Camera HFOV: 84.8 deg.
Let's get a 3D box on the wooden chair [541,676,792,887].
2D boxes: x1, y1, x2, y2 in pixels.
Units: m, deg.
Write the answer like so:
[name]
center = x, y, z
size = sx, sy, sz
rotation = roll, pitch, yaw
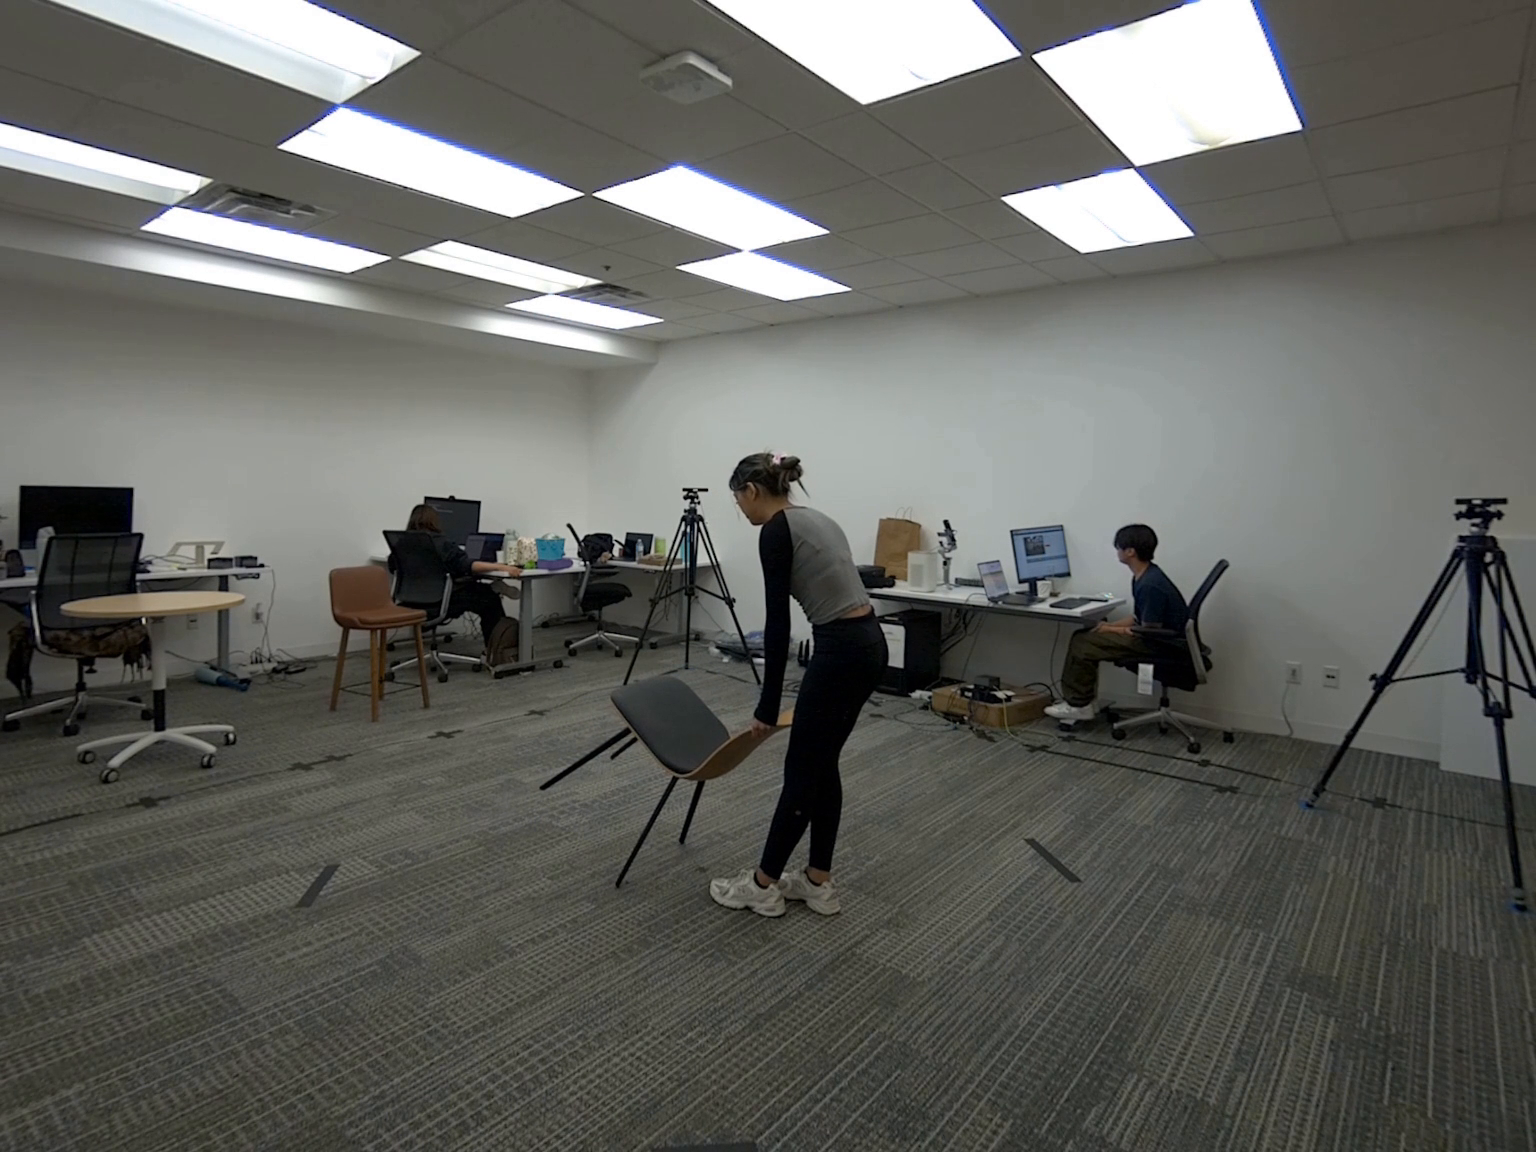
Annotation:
[wooden chair]
center = -0.345, 0.594, 3.078
size = 0.877, 0.536, 0.466
rotation = -47, -18, 21
